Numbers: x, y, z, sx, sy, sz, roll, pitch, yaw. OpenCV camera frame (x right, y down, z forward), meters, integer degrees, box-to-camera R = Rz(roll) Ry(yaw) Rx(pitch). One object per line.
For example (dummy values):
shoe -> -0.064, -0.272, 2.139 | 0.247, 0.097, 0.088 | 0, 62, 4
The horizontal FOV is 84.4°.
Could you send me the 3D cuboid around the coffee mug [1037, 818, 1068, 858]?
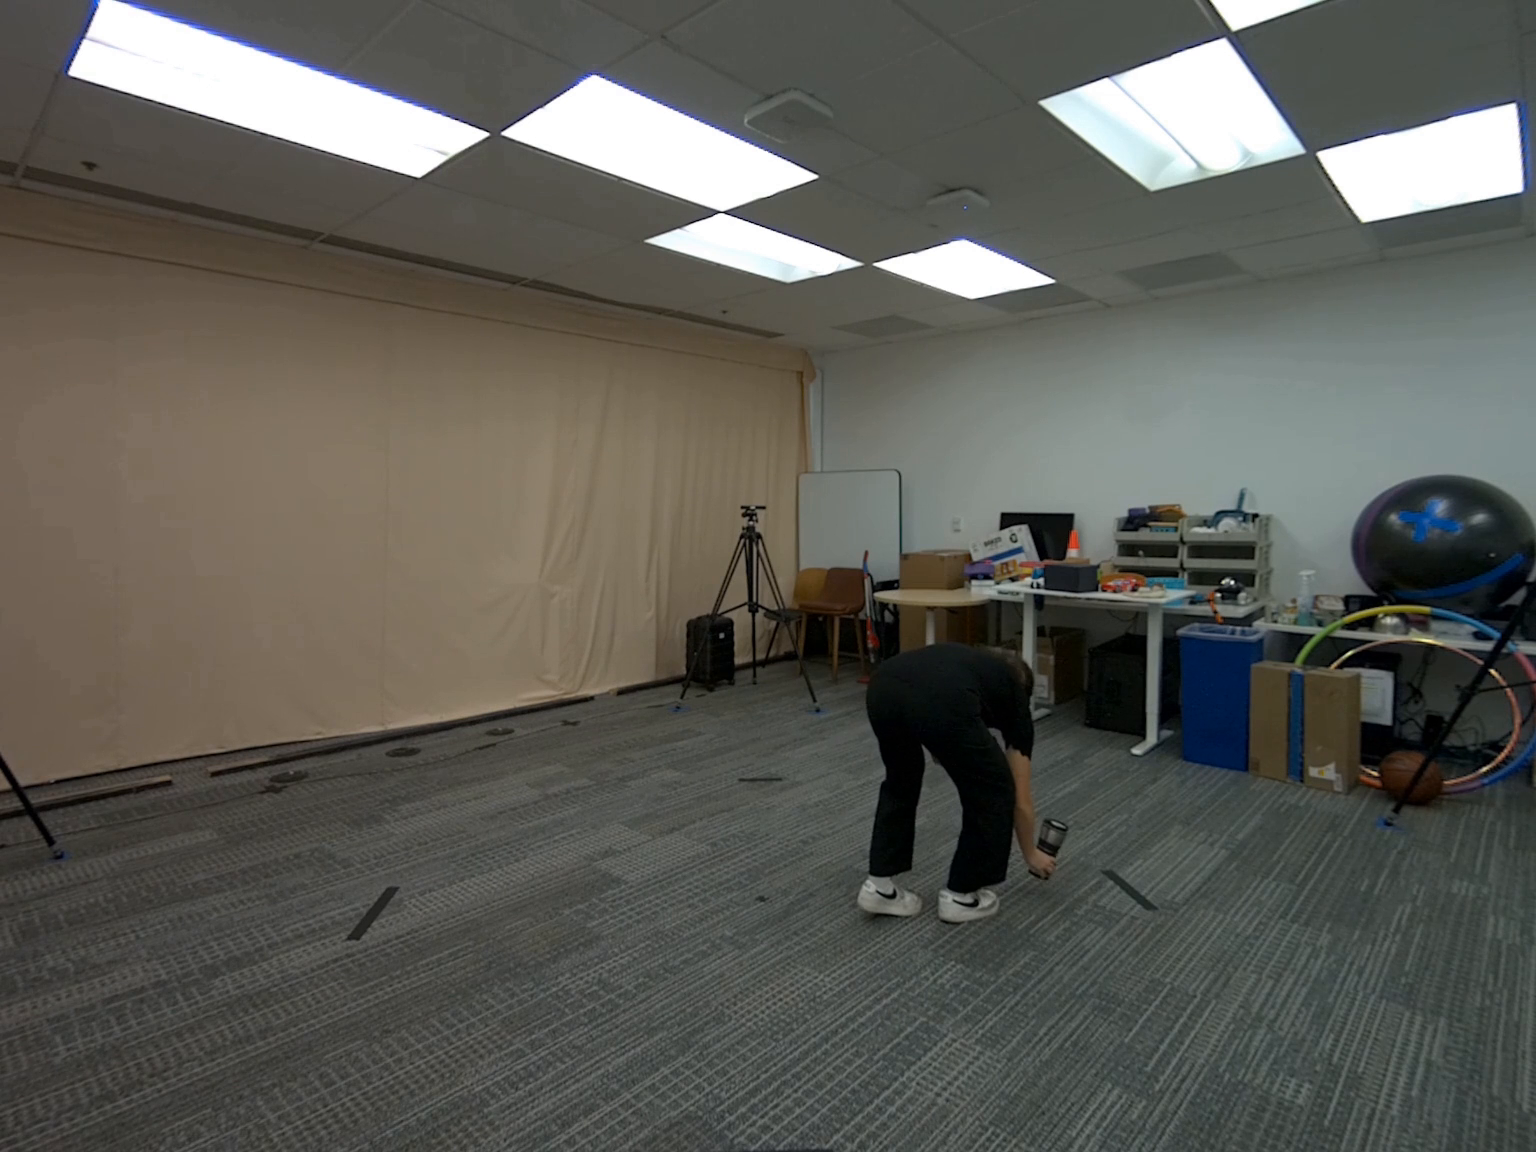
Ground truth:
coffee mug -> 1.027, 0.987, 3.042 | 0.091, 0.203, 0.118 | 18, 3, 38
